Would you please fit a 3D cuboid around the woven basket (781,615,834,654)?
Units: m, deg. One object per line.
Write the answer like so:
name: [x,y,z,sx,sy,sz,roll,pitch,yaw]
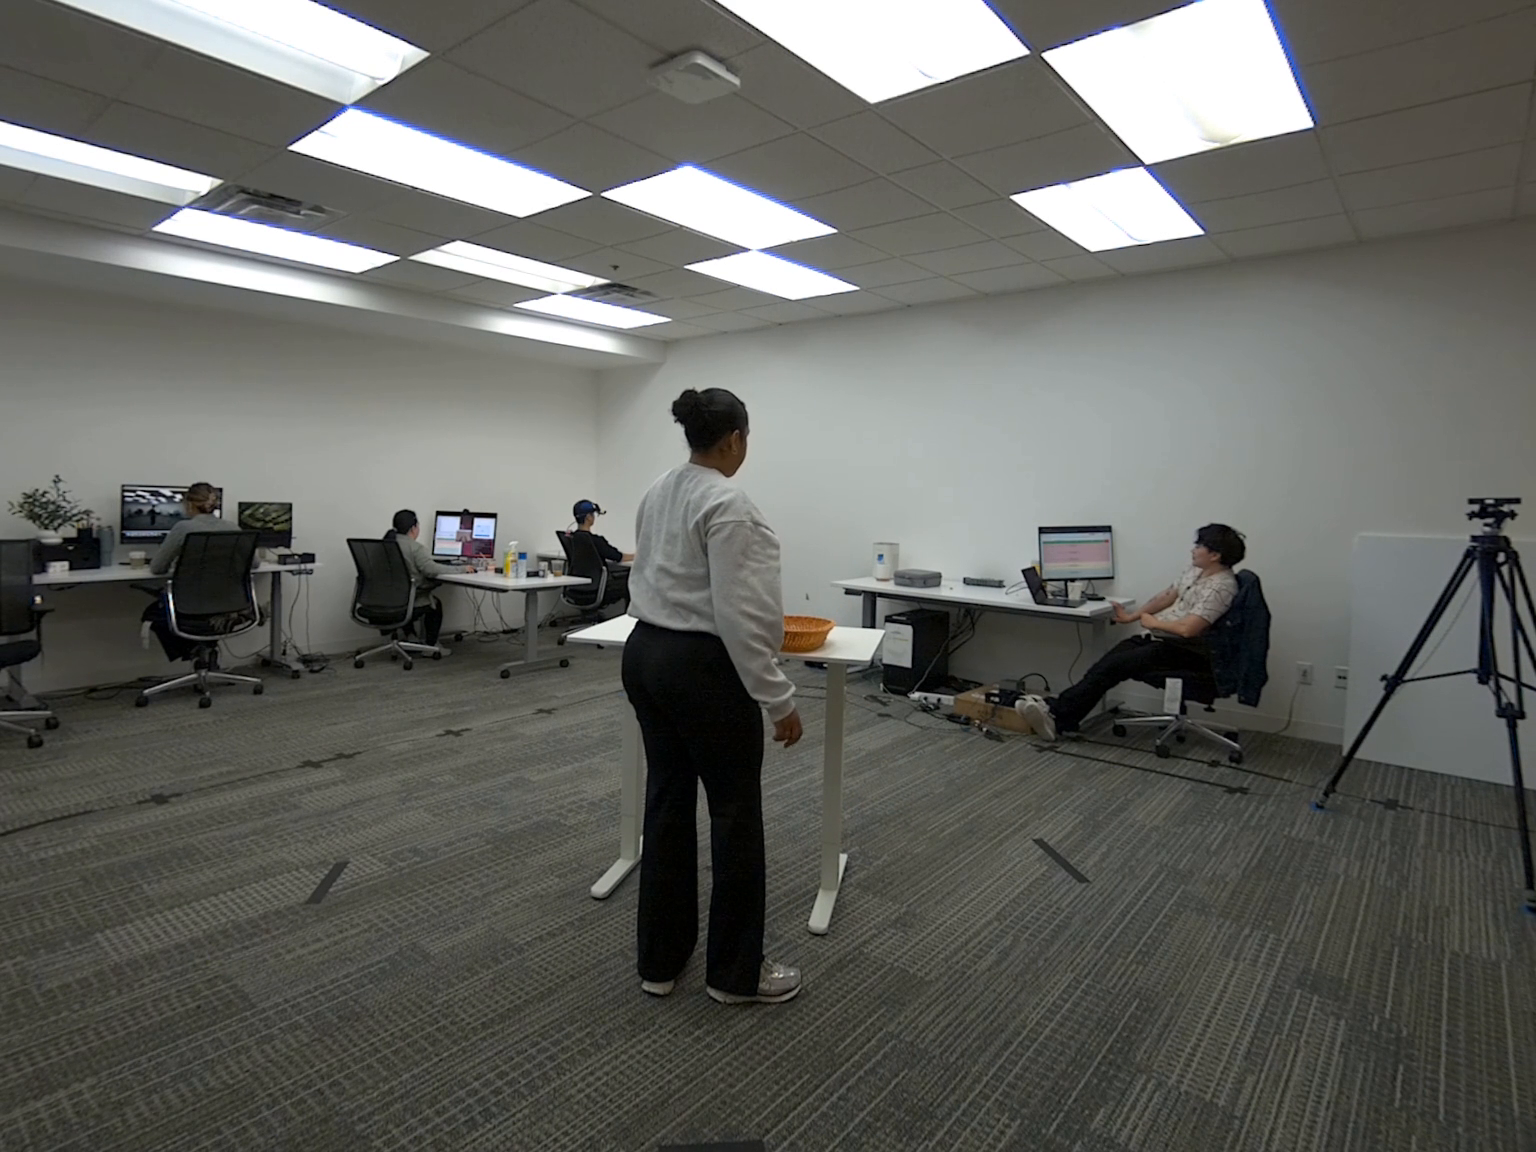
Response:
woven basket: [0.082,0.185,2.807,0.258,0.073,0.344,5,7,21]
